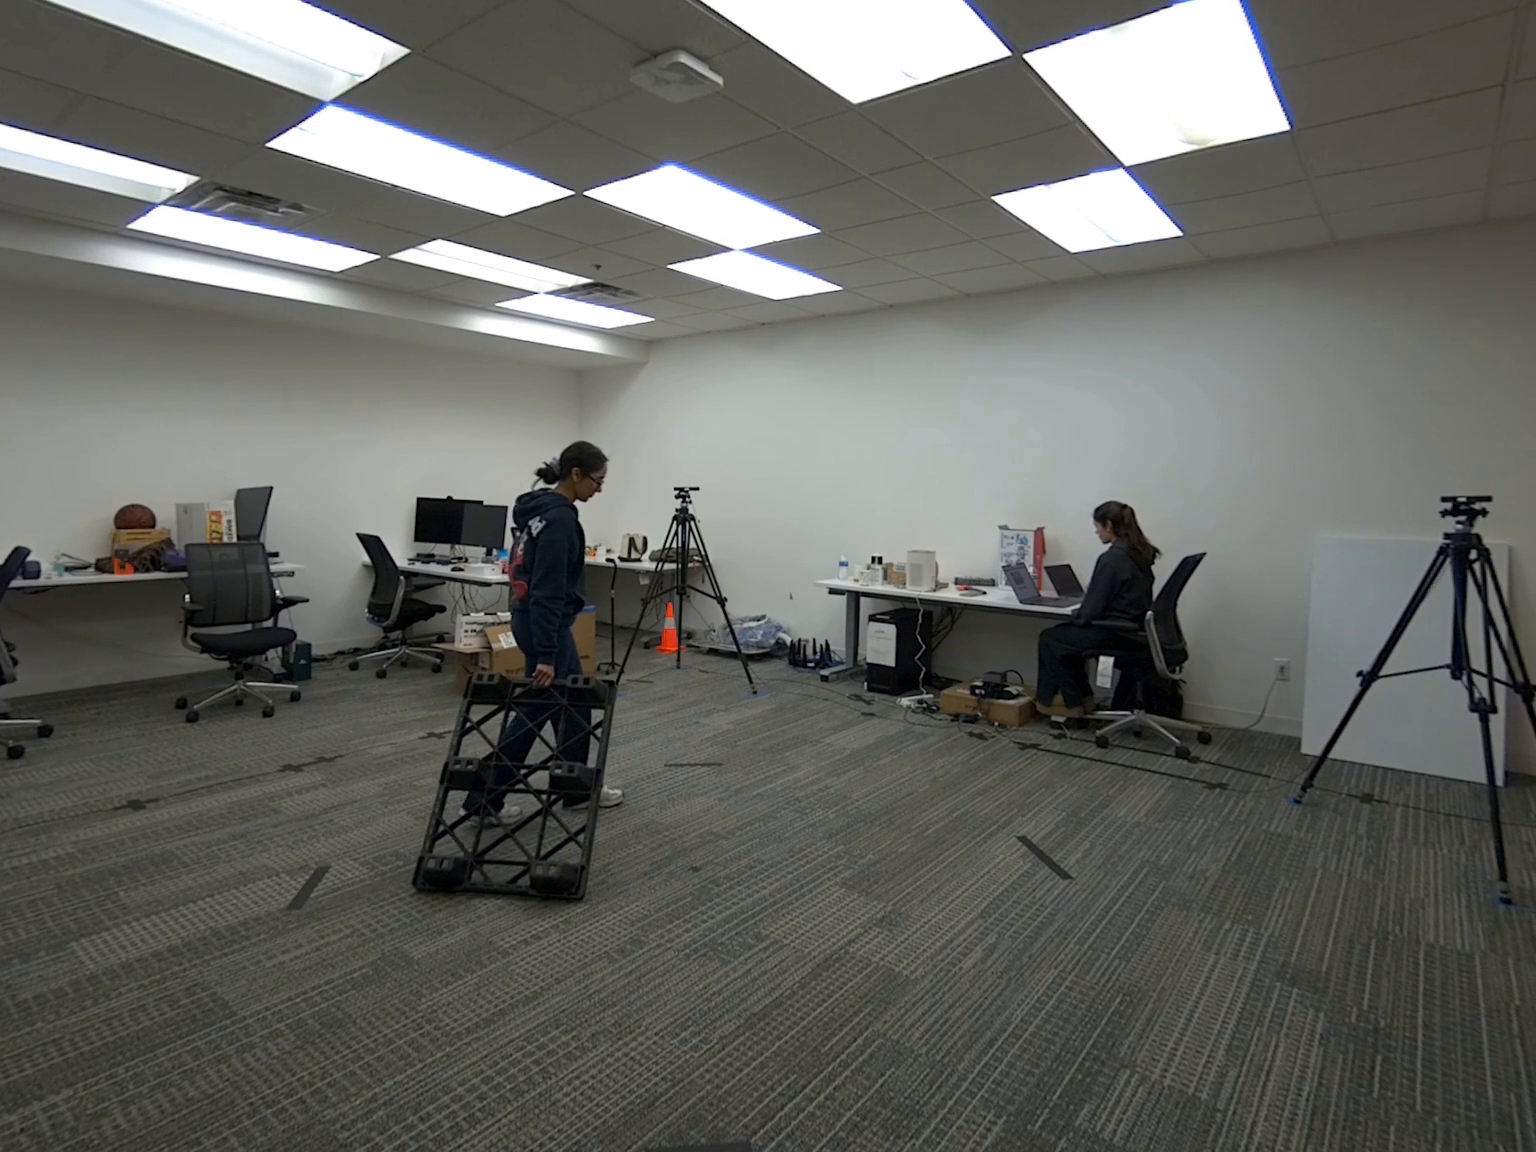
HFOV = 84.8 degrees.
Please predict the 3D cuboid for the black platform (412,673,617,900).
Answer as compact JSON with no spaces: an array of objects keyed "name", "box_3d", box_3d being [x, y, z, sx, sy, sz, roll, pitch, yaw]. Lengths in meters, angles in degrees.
[{"name":"black platform","box_3d":[-0.910,0.720,3.065,0.609,0.826,0.139,-1,-35,5]}]
